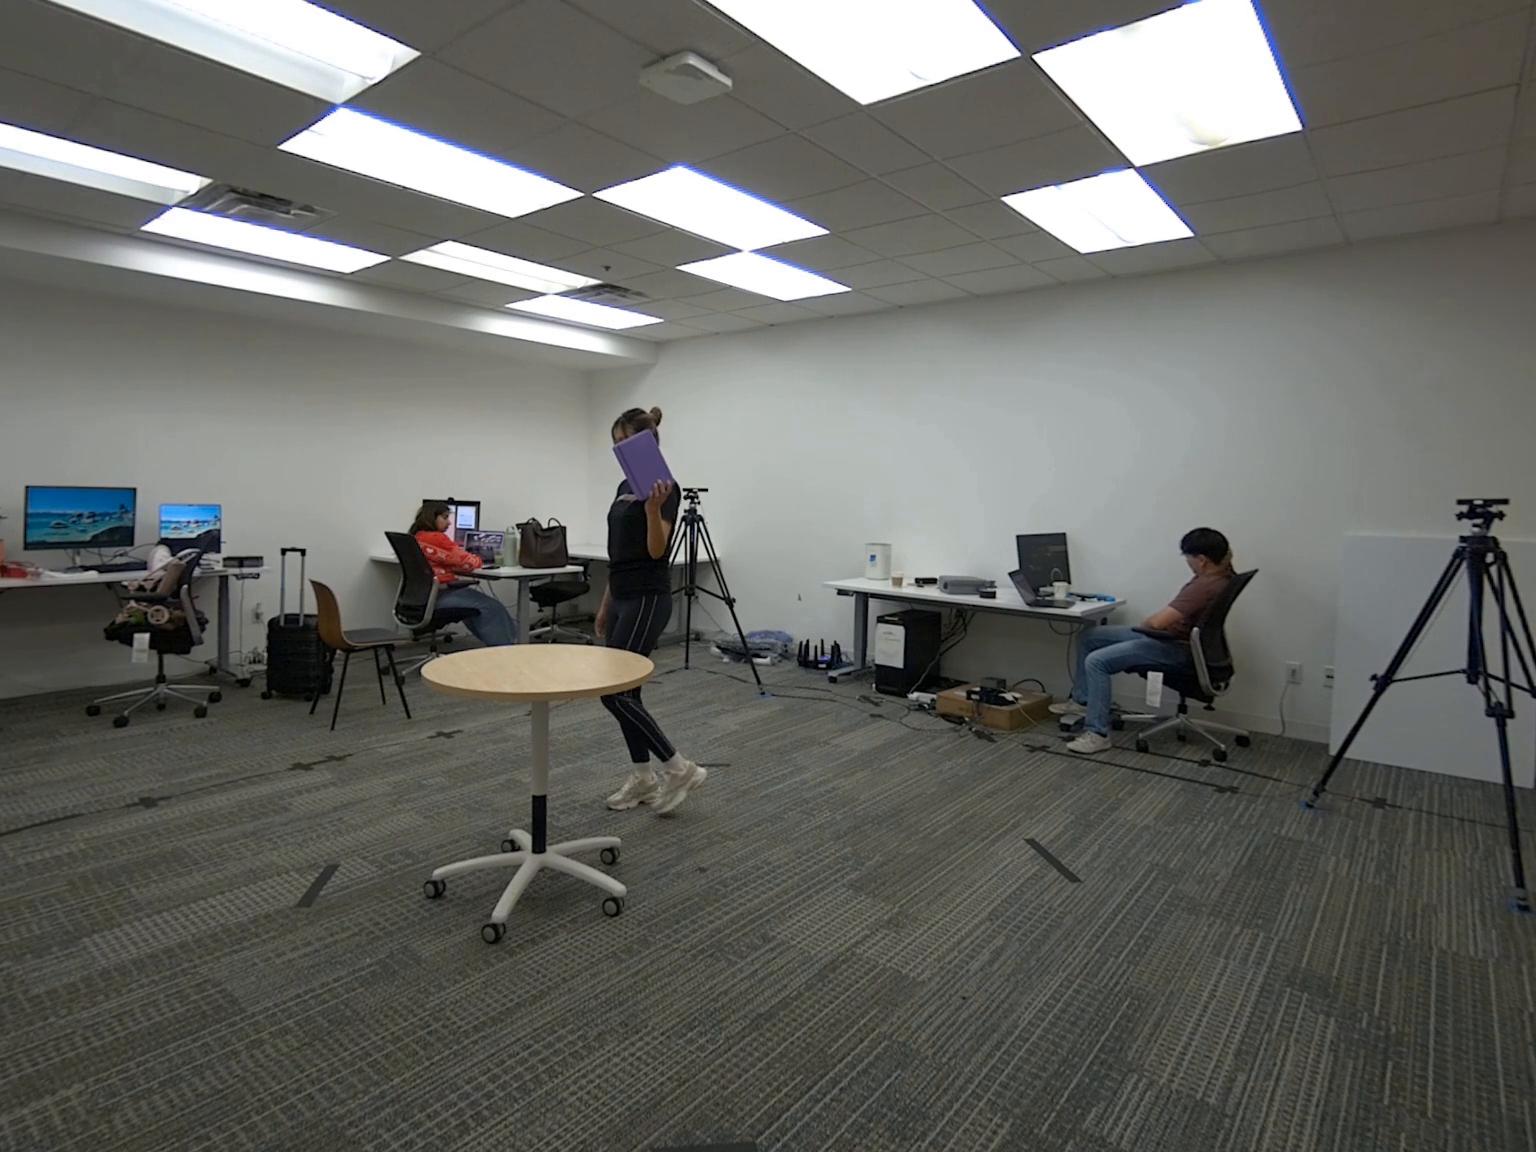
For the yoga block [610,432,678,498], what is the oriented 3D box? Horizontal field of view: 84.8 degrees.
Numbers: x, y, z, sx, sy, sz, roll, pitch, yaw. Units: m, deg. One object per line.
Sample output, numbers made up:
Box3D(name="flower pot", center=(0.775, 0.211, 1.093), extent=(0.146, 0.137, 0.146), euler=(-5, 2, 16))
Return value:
Box3D(name="yoga block", center=(-0.470, -0.418, 3.176), extent=(0.147, 0.227, 0.078), euler=(-29, 9, -23))
